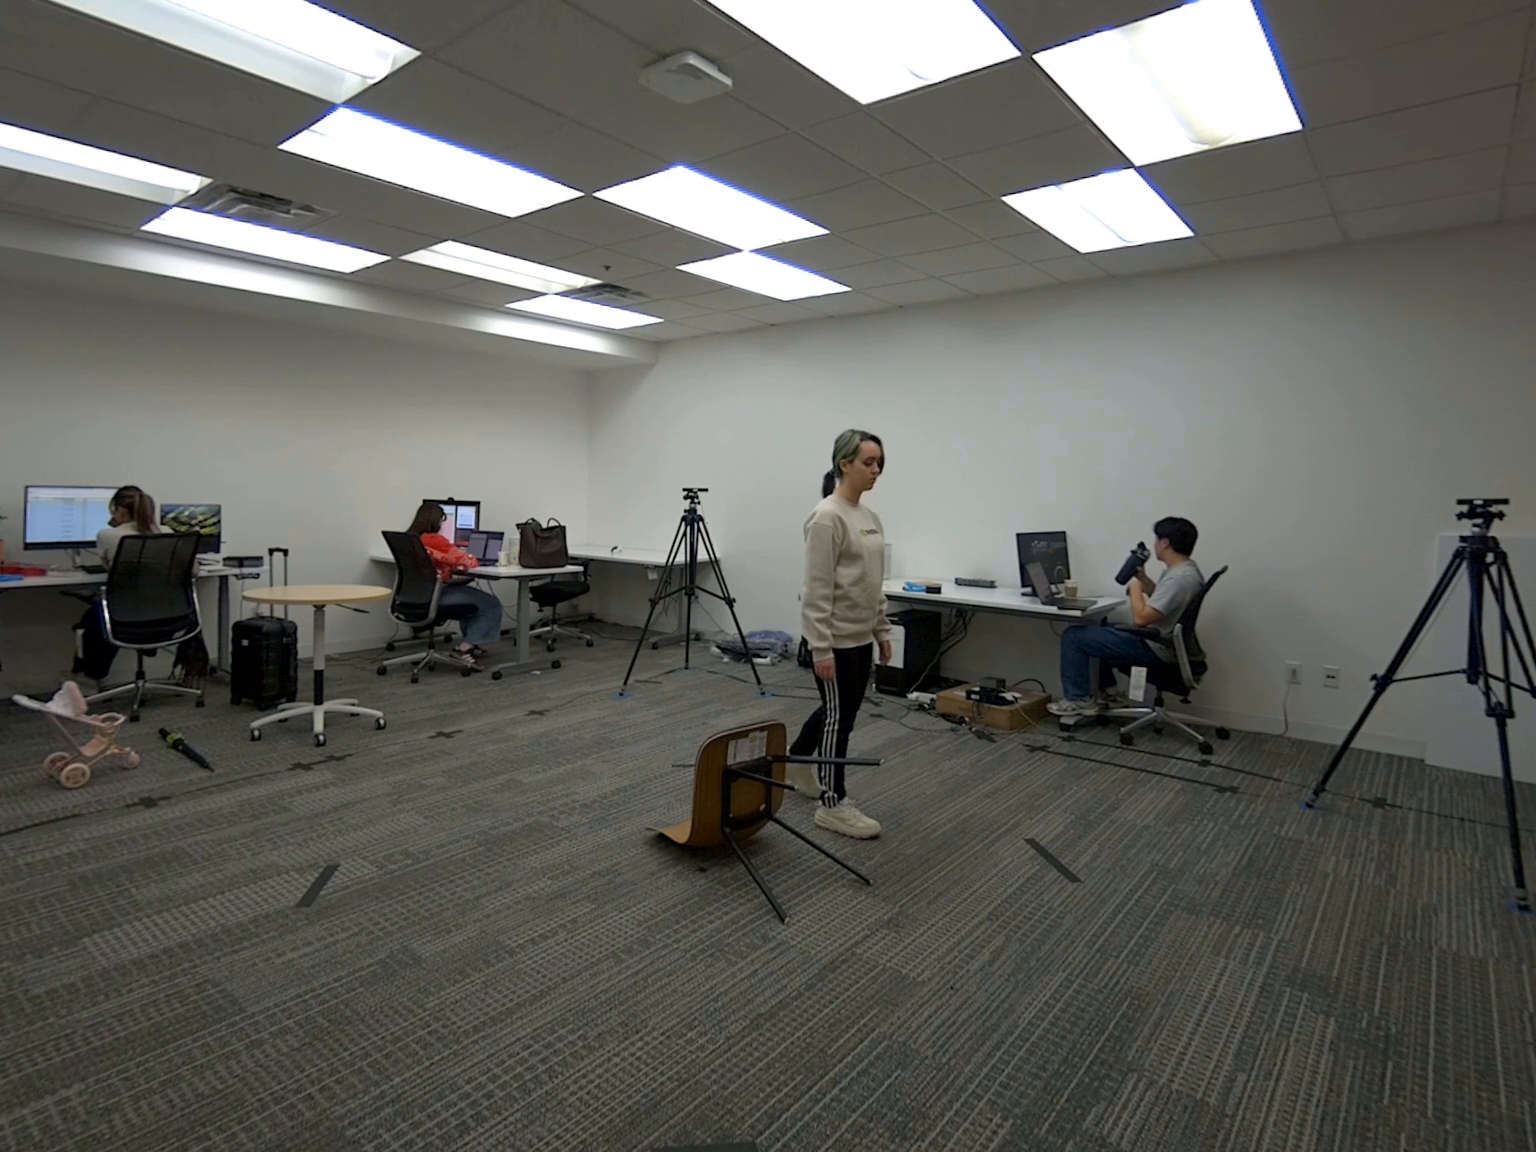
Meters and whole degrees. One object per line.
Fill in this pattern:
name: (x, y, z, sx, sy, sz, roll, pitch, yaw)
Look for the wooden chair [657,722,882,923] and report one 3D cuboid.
wooden chair: (-0.078, 0.809, 3.164, 0.463, 0.522, 0.907, -2, 5, -43)
